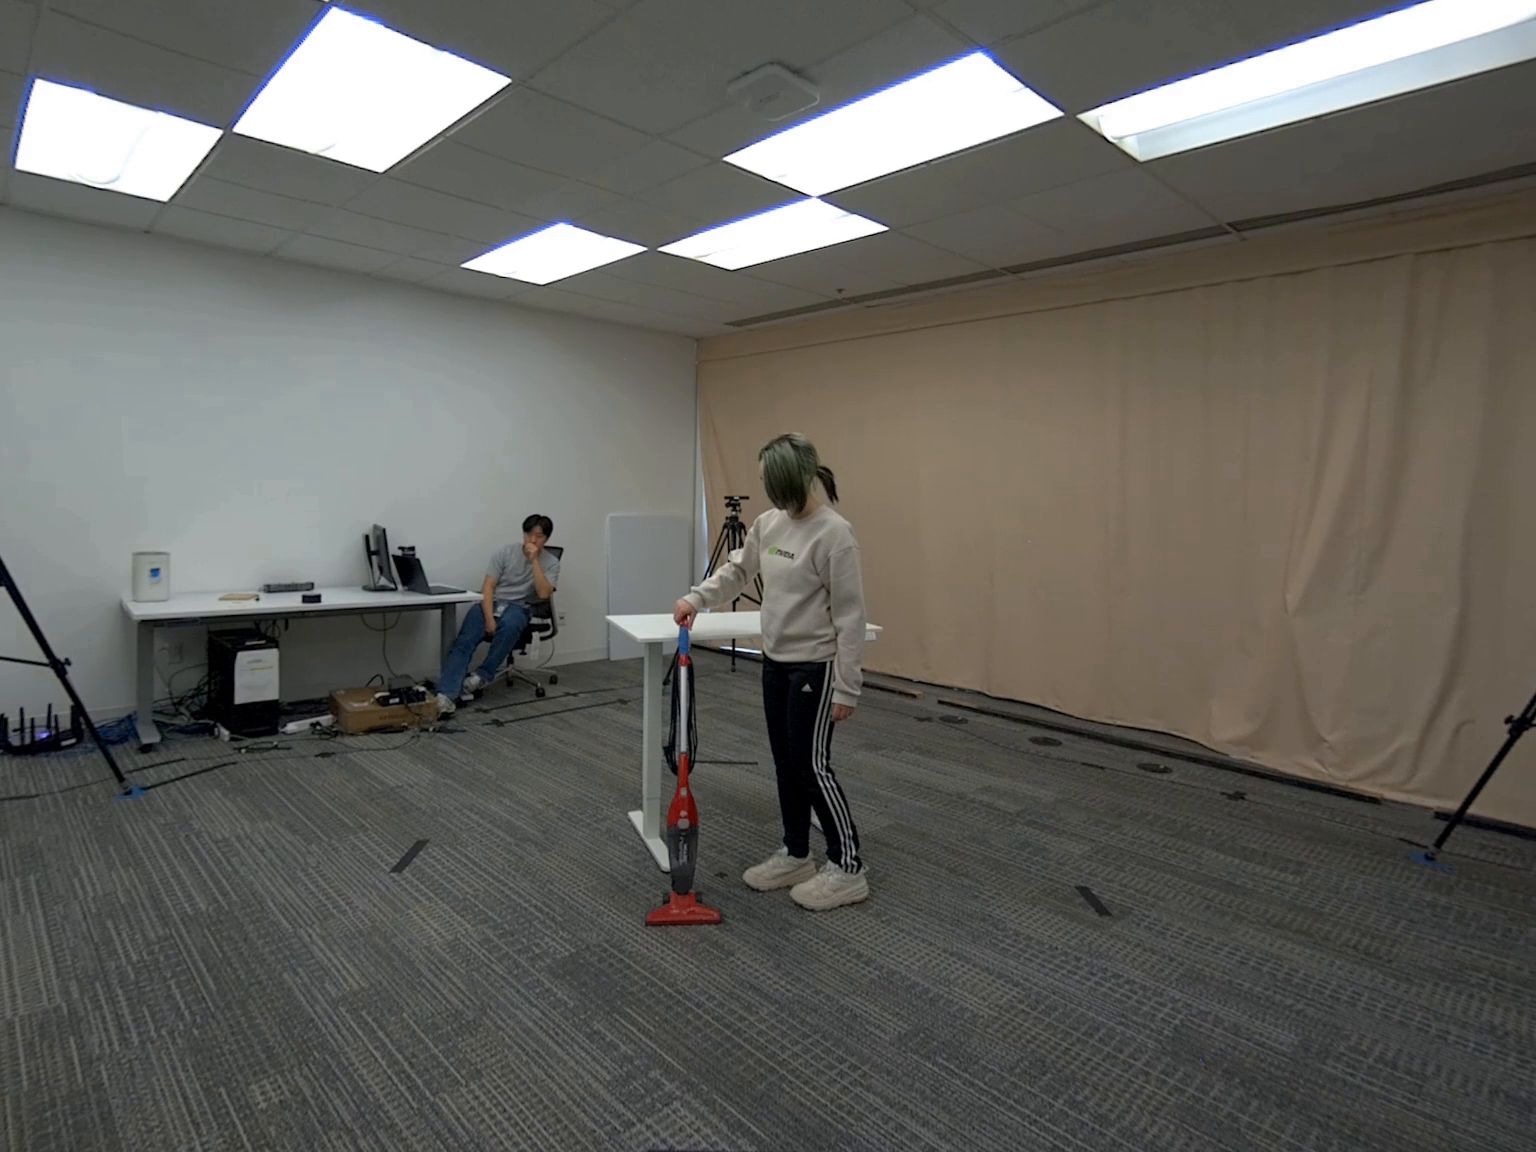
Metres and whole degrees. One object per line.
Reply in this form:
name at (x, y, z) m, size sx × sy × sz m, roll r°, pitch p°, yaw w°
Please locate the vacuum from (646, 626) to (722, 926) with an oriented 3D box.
vacuum at (-0.309, 0.631, 2.957) m, size 0.250 × 1.064 × 0.143 m, roll 2°, pitch -19°, yaw -14°
